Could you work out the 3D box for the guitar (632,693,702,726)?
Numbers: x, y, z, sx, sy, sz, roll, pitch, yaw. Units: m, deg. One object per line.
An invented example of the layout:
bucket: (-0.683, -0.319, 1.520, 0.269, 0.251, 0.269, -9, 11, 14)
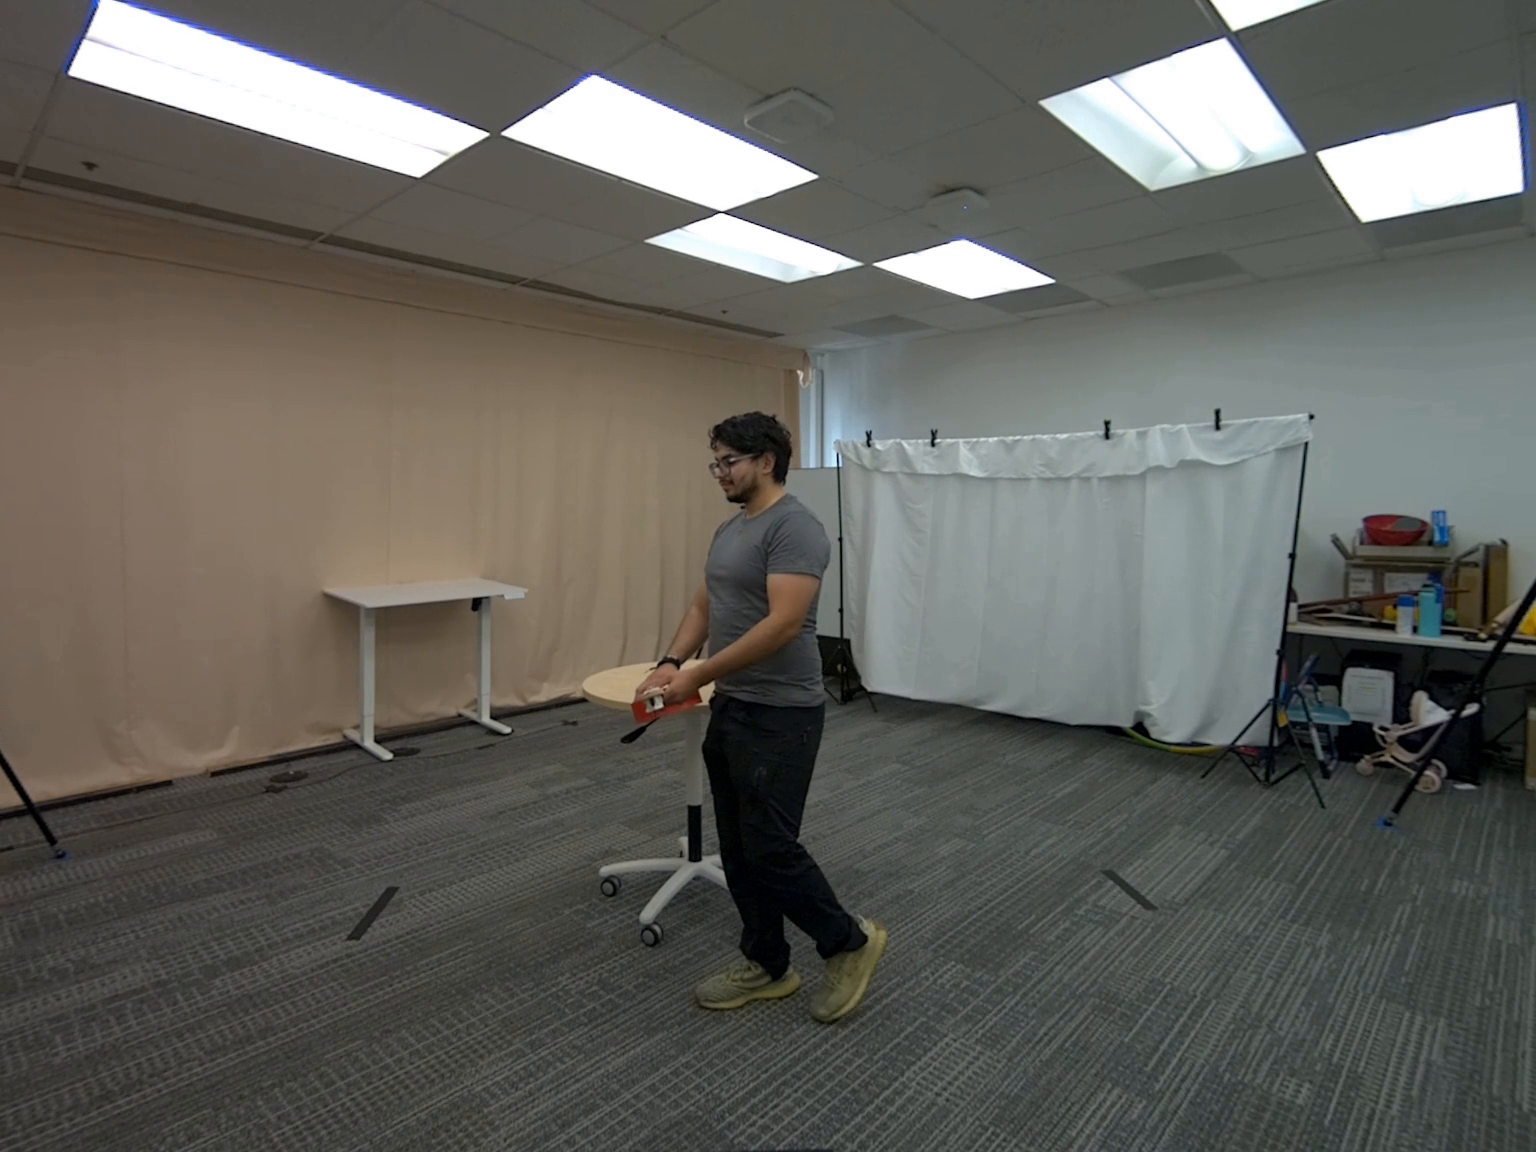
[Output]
guitar: (-0.301, 0.328, 2.173, 0.194, 0.071, 0.491, -16, -5, 8)
